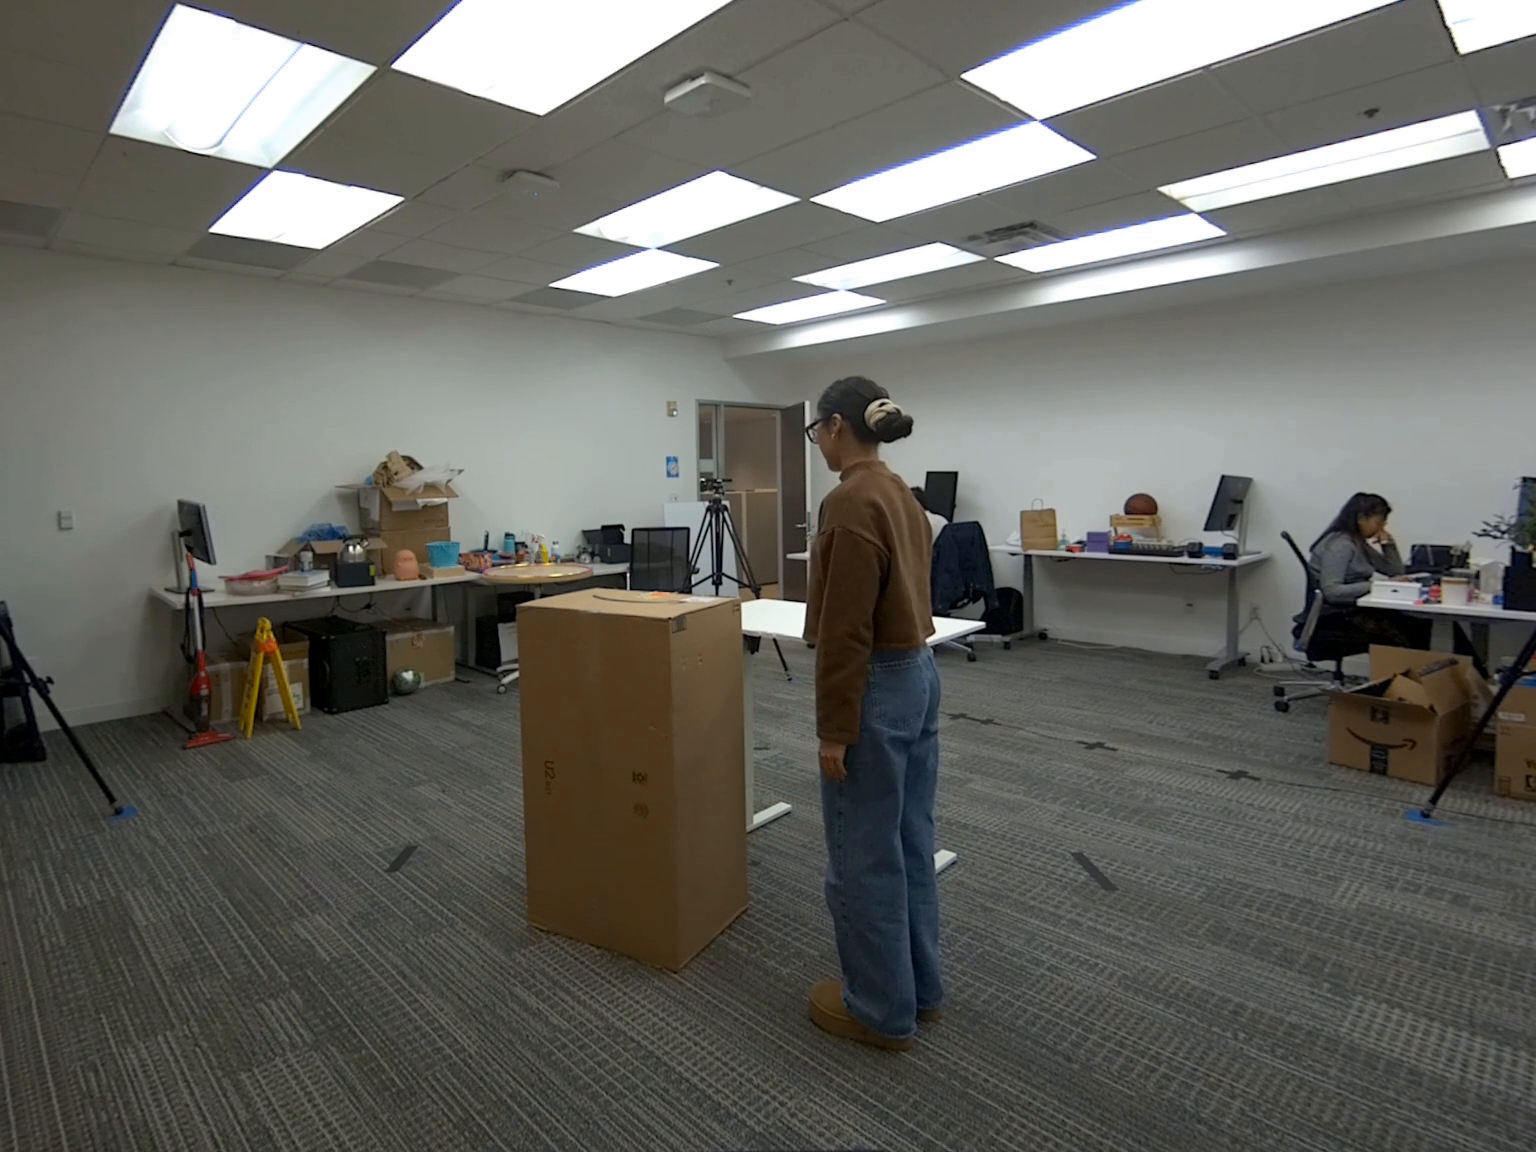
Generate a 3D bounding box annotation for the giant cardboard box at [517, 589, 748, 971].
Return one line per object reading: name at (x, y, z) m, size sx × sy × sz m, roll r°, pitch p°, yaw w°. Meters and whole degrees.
giant cardboard box at (-0.420, 0.586, 2.718) m, size 0.592 × 1.022 × 0.417 m, roll 1°, pitch 5°, yaw 29°
